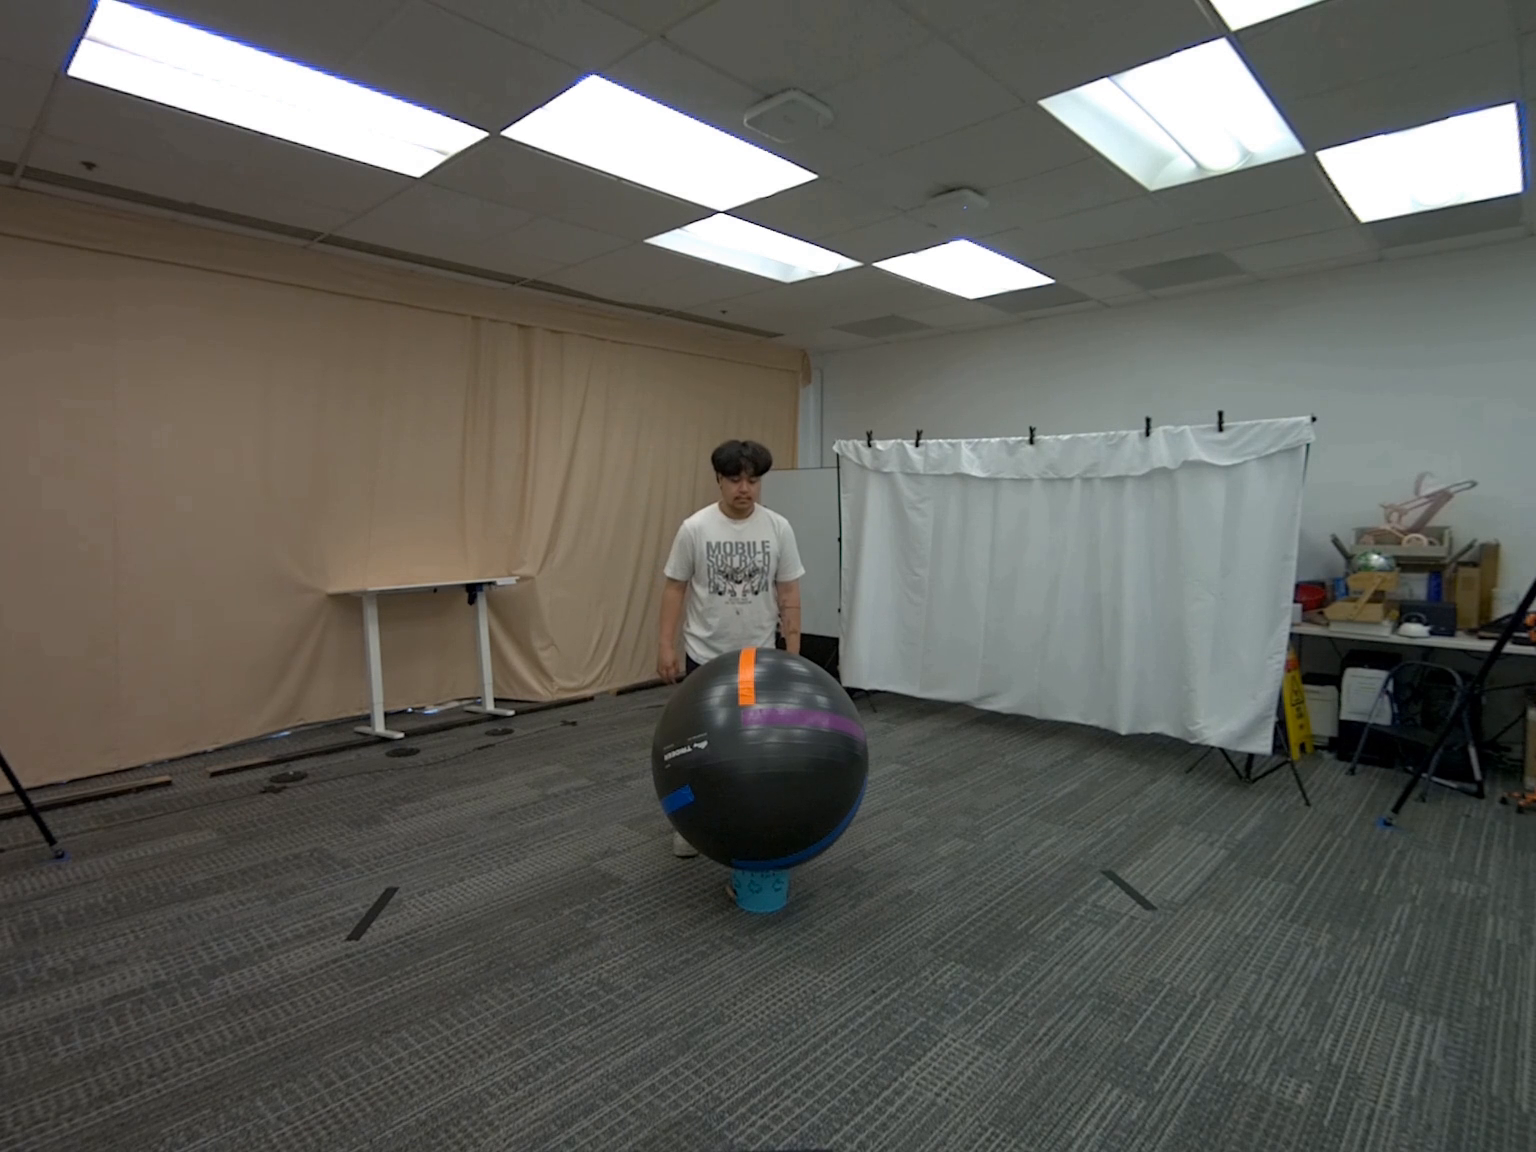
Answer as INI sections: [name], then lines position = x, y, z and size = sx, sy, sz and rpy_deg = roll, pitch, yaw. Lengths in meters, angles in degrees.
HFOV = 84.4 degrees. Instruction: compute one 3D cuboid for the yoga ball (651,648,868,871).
[yoga ball]
position = -0.032, 0.637, 2.948
size = 0.757, 0.756, 0.761
rpy_deg = 0, 4, -2
